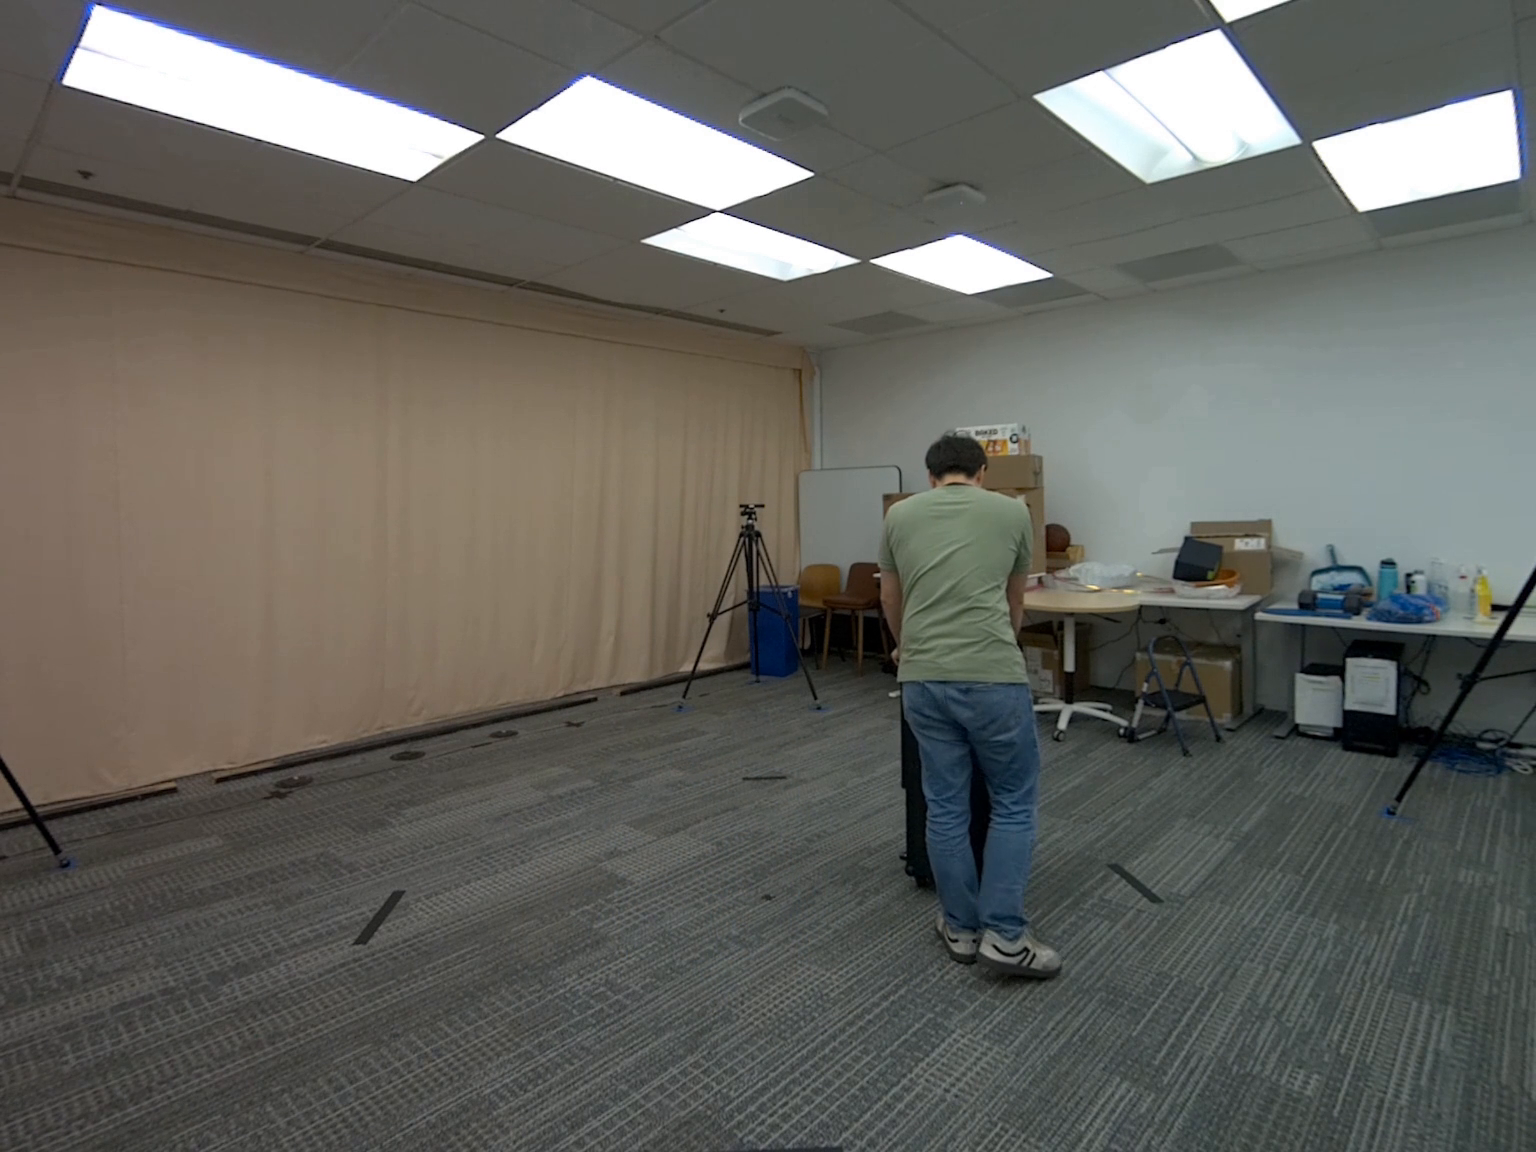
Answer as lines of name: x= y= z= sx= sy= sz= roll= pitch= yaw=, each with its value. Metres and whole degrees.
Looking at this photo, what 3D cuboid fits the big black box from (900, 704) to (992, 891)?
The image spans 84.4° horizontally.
big black box: x=0.704 y=0.694 z=3.141 sx=0.403 sy=0.860 sz=0.514 roll=-1 pitch=3 yaw=14
